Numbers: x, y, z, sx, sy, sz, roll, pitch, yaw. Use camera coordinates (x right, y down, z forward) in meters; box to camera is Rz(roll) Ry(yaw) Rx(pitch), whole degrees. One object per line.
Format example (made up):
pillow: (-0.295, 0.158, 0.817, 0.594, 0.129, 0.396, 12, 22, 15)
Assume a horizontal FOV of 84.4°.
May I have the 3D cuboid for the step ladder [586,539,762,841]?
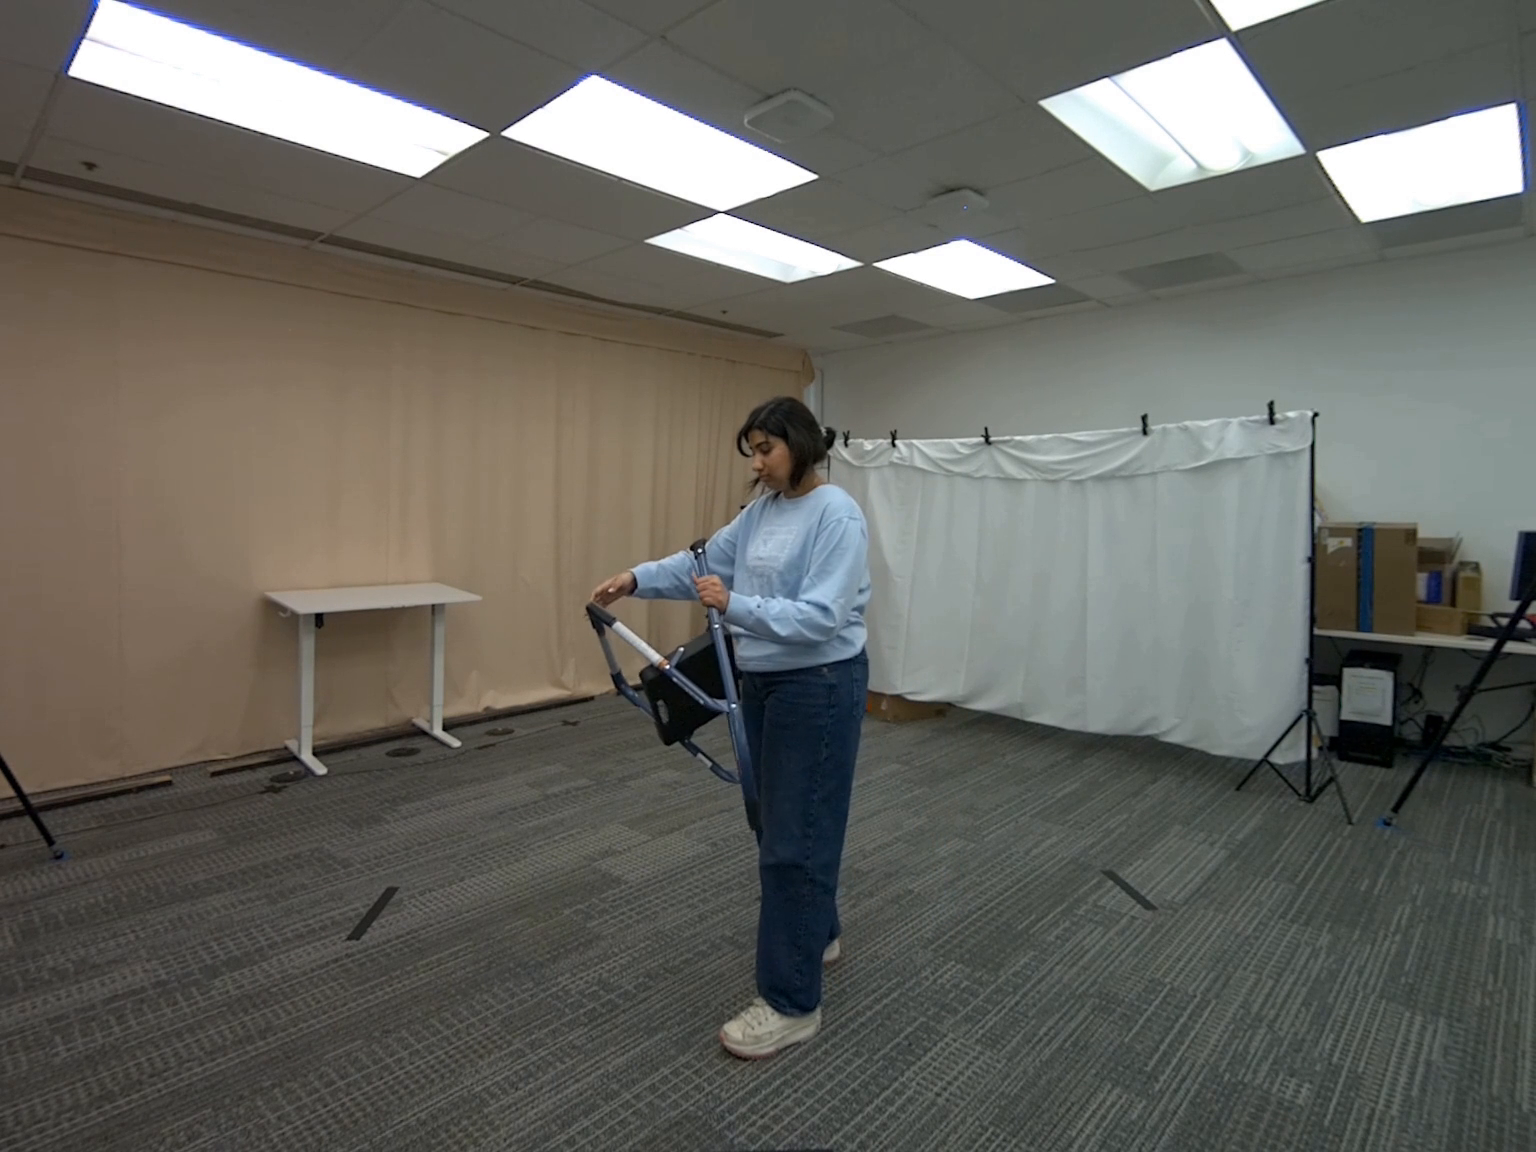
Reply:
step ladder: (-0.132, 0.309, 2.099, 0.346, 0.421, 0.626, -29, 55, -16)
